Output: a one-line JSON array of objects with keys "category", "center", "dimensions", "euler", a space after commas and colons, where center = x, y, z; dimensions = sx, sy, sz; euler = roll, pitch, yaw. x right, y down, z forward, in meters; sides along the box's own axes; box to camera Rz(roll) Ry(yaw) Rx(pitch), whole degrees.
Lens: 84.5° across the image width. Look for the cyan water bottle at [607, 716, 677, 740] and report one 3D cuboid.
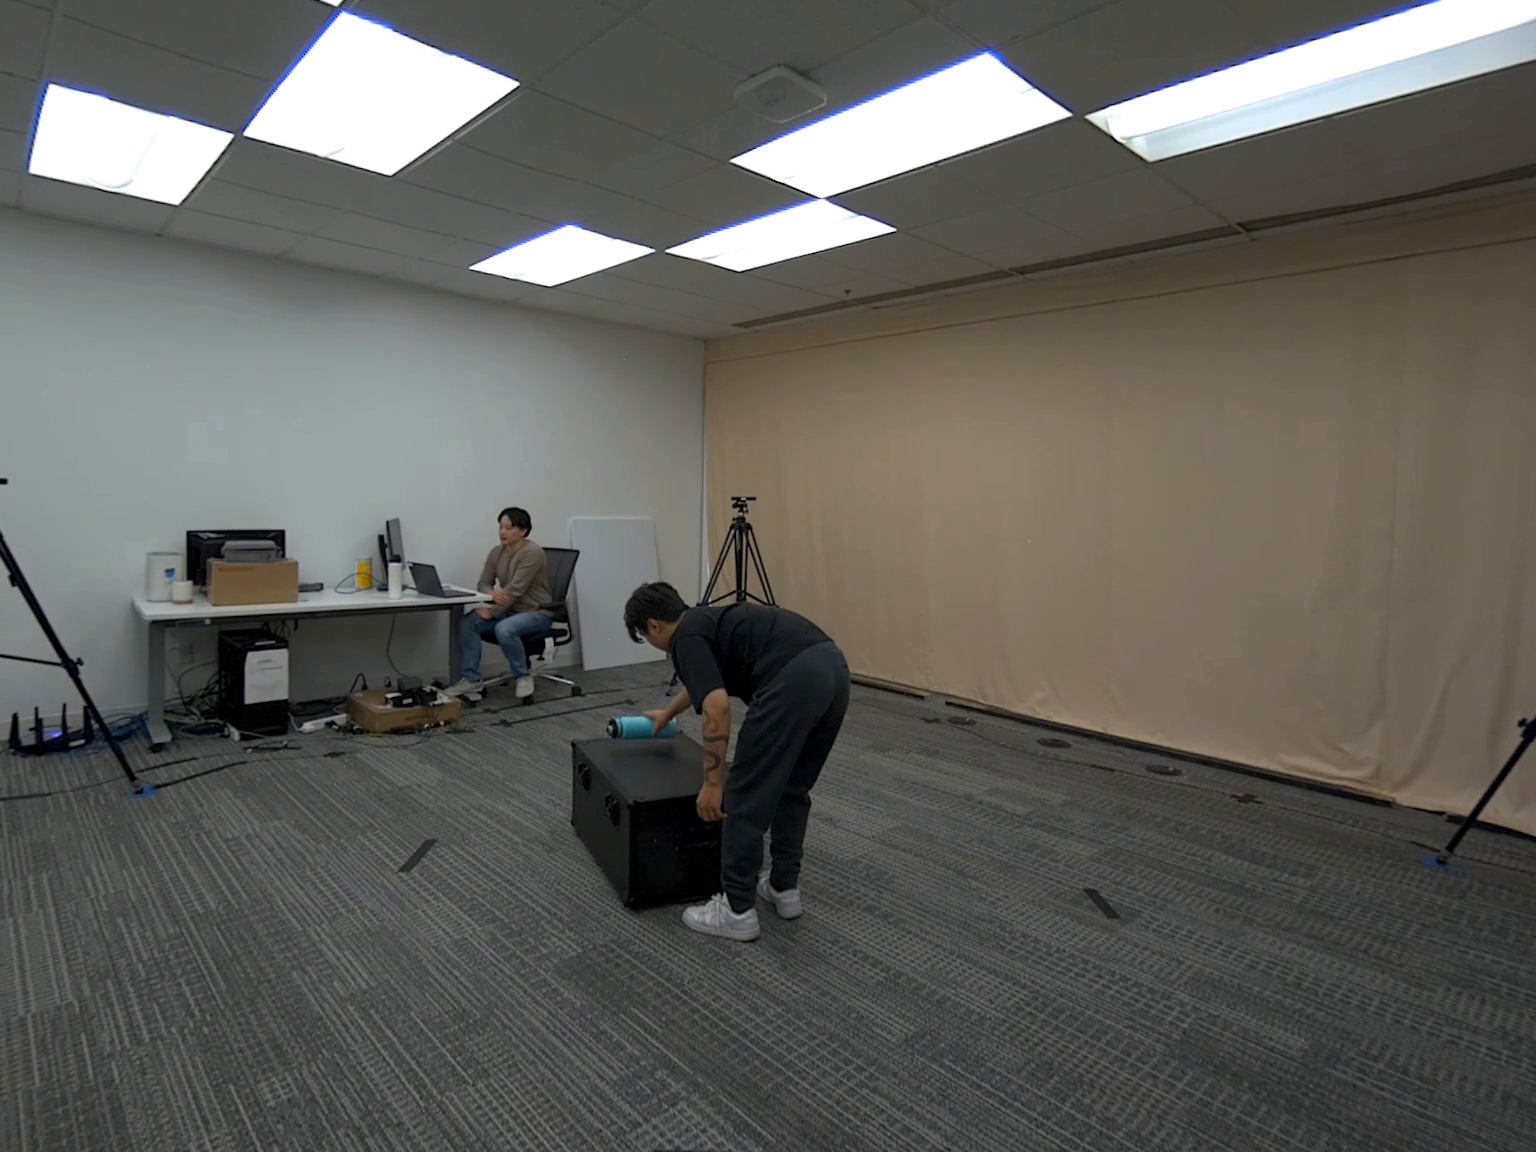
[{"category": "cyan water bottle", "center": [-0.522, 0.622, 3.411], "dimensions": [0.278, 0.092, 0.094], "euler": [3, 3, -23]}]
